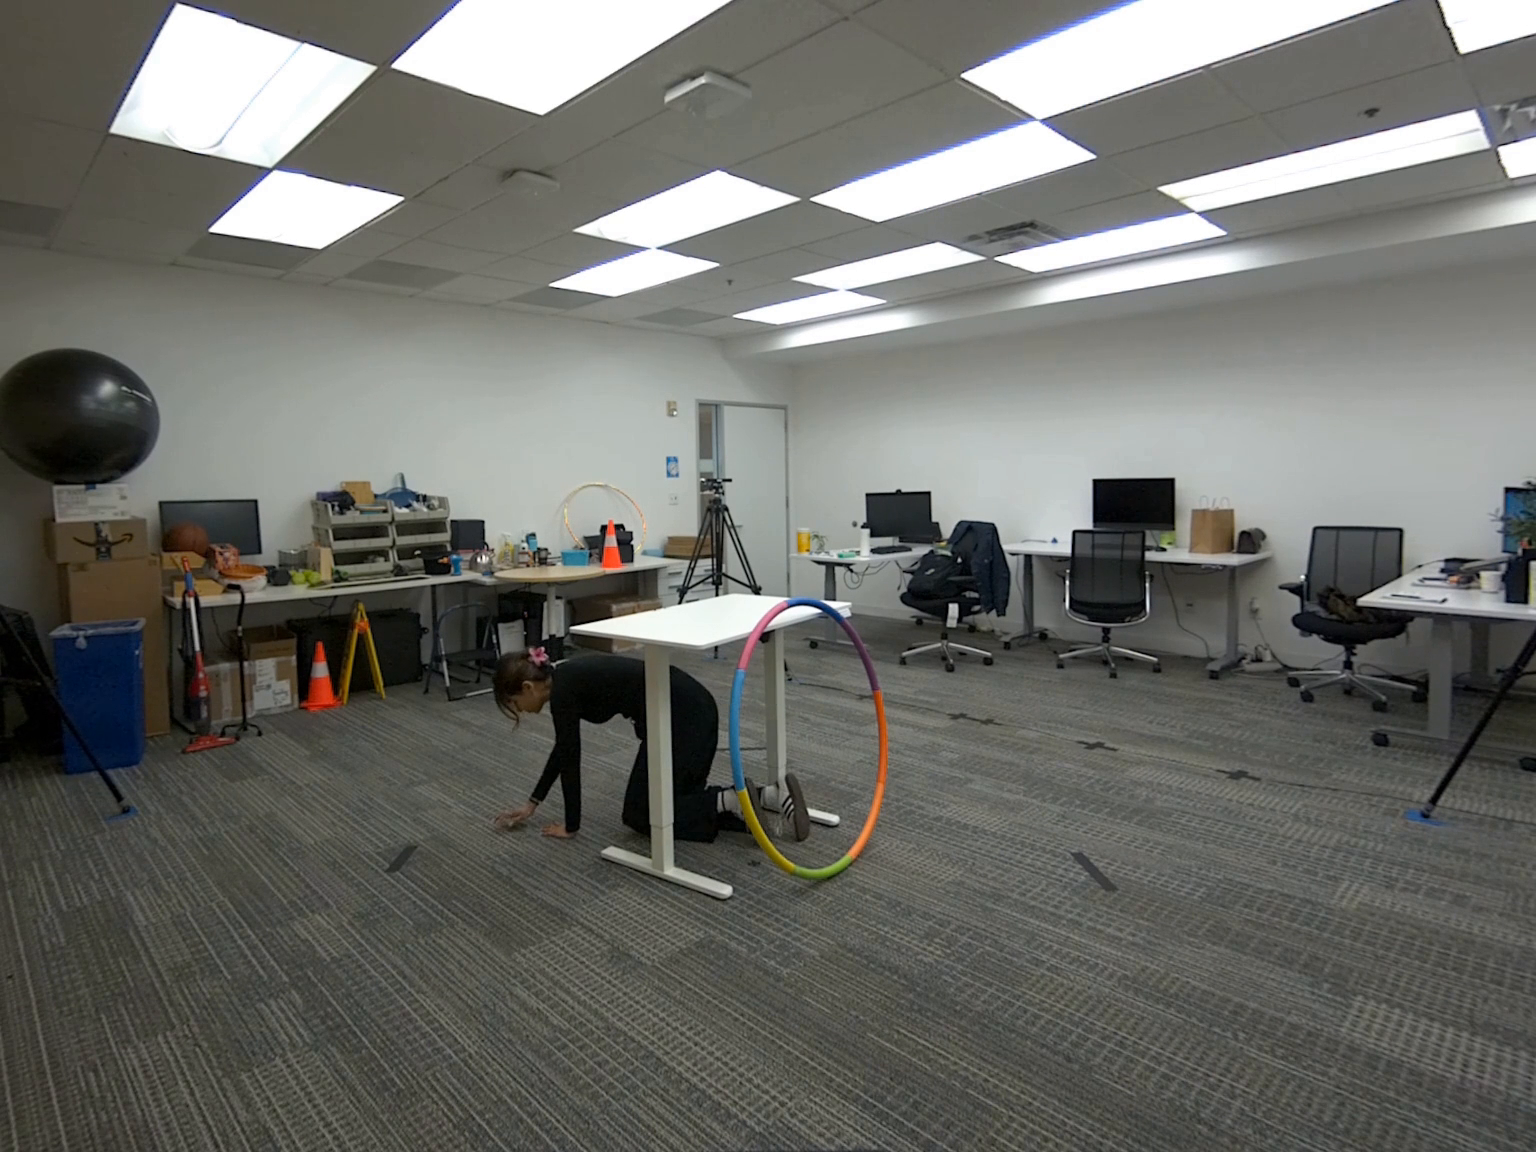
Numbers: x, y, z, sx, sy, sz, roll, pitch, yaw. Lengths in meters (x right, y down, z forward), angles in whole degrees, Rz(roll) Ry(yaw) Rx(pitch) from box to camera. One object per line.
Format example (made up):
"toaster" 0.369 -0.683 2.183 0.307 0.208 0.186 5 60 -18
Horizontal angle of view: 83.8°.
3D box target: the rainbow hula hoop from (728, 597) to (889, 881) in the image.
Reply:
"rainbow hula hoop" 0.174 0.564 3.067 0.036 0.982 0.955 -13 -3 35
